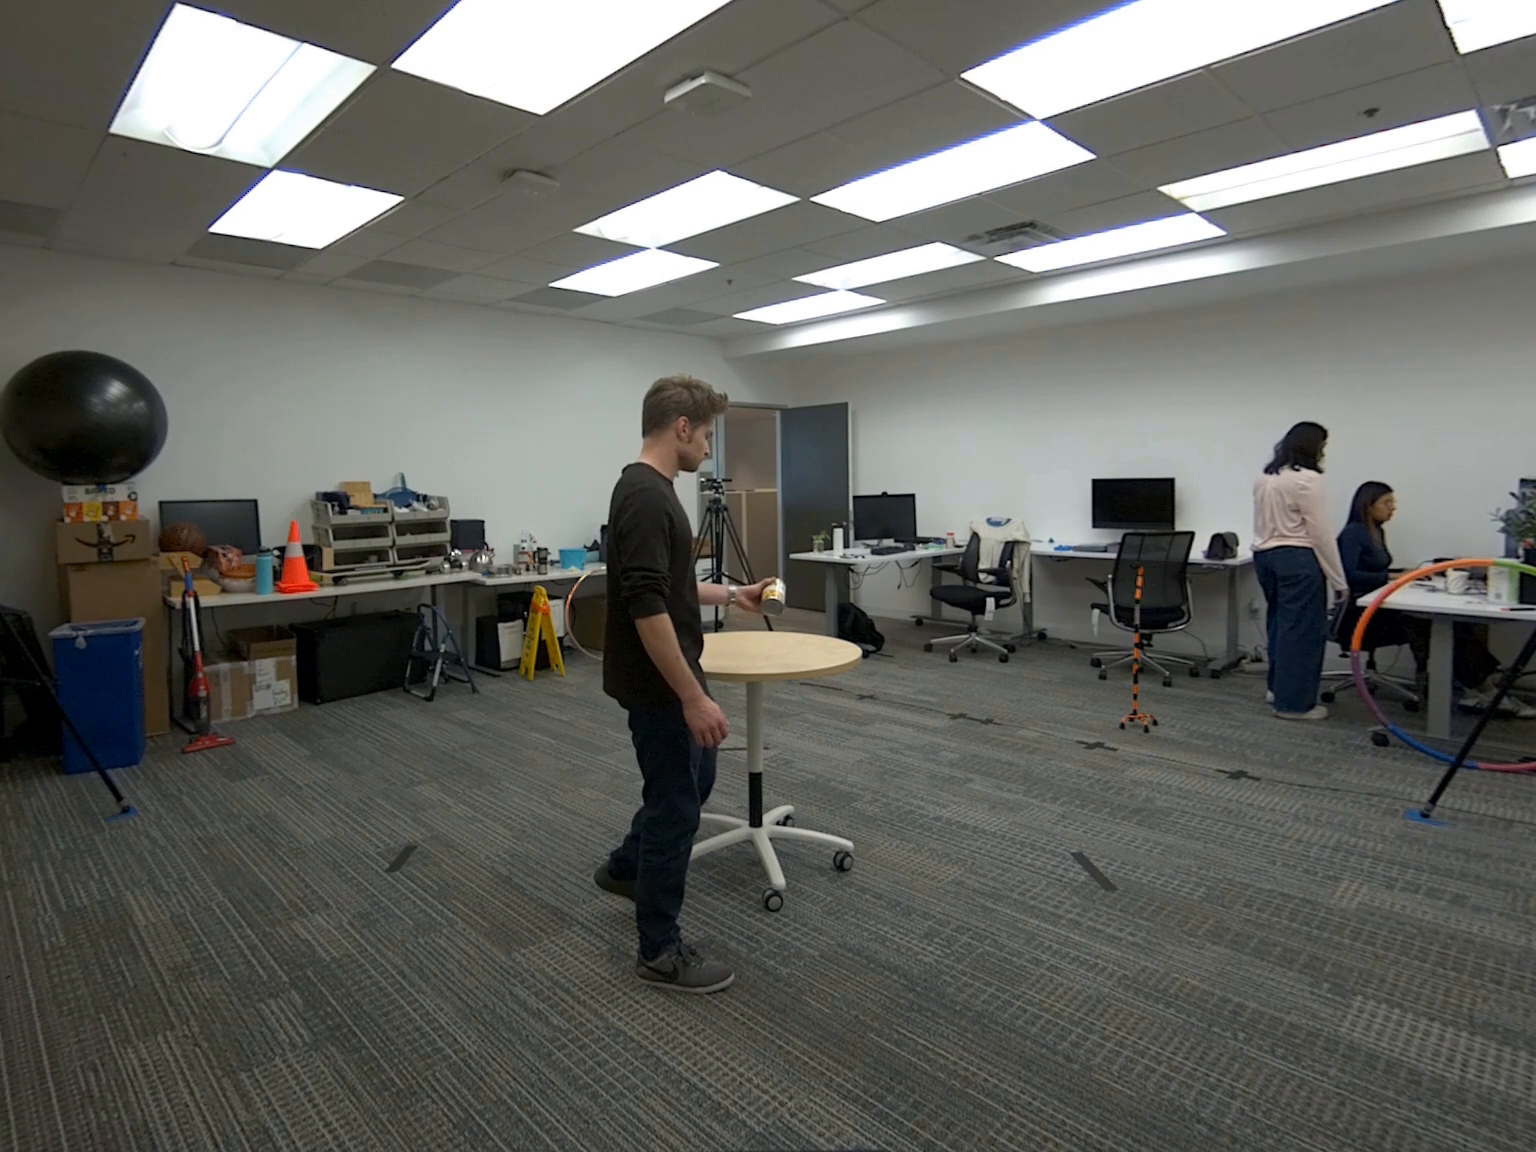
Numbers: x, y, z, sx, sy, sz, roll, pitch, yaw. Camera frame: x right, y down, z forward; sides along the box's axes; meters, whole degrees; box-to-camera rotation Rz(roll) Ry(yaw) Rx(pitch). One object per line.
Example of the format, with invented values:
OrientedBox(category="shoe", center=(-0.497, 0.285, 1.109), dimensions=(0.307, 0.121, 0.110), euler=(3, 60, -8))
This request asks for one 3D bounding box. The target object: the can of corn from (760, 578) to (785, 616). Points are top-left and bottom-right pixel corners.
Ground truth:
OrientedBox(category="can of corn", center=(0.012, 0.067, 2.733), dimensions=(0.075, 0.072, 0.113), euler=(-1, 33, 8))
